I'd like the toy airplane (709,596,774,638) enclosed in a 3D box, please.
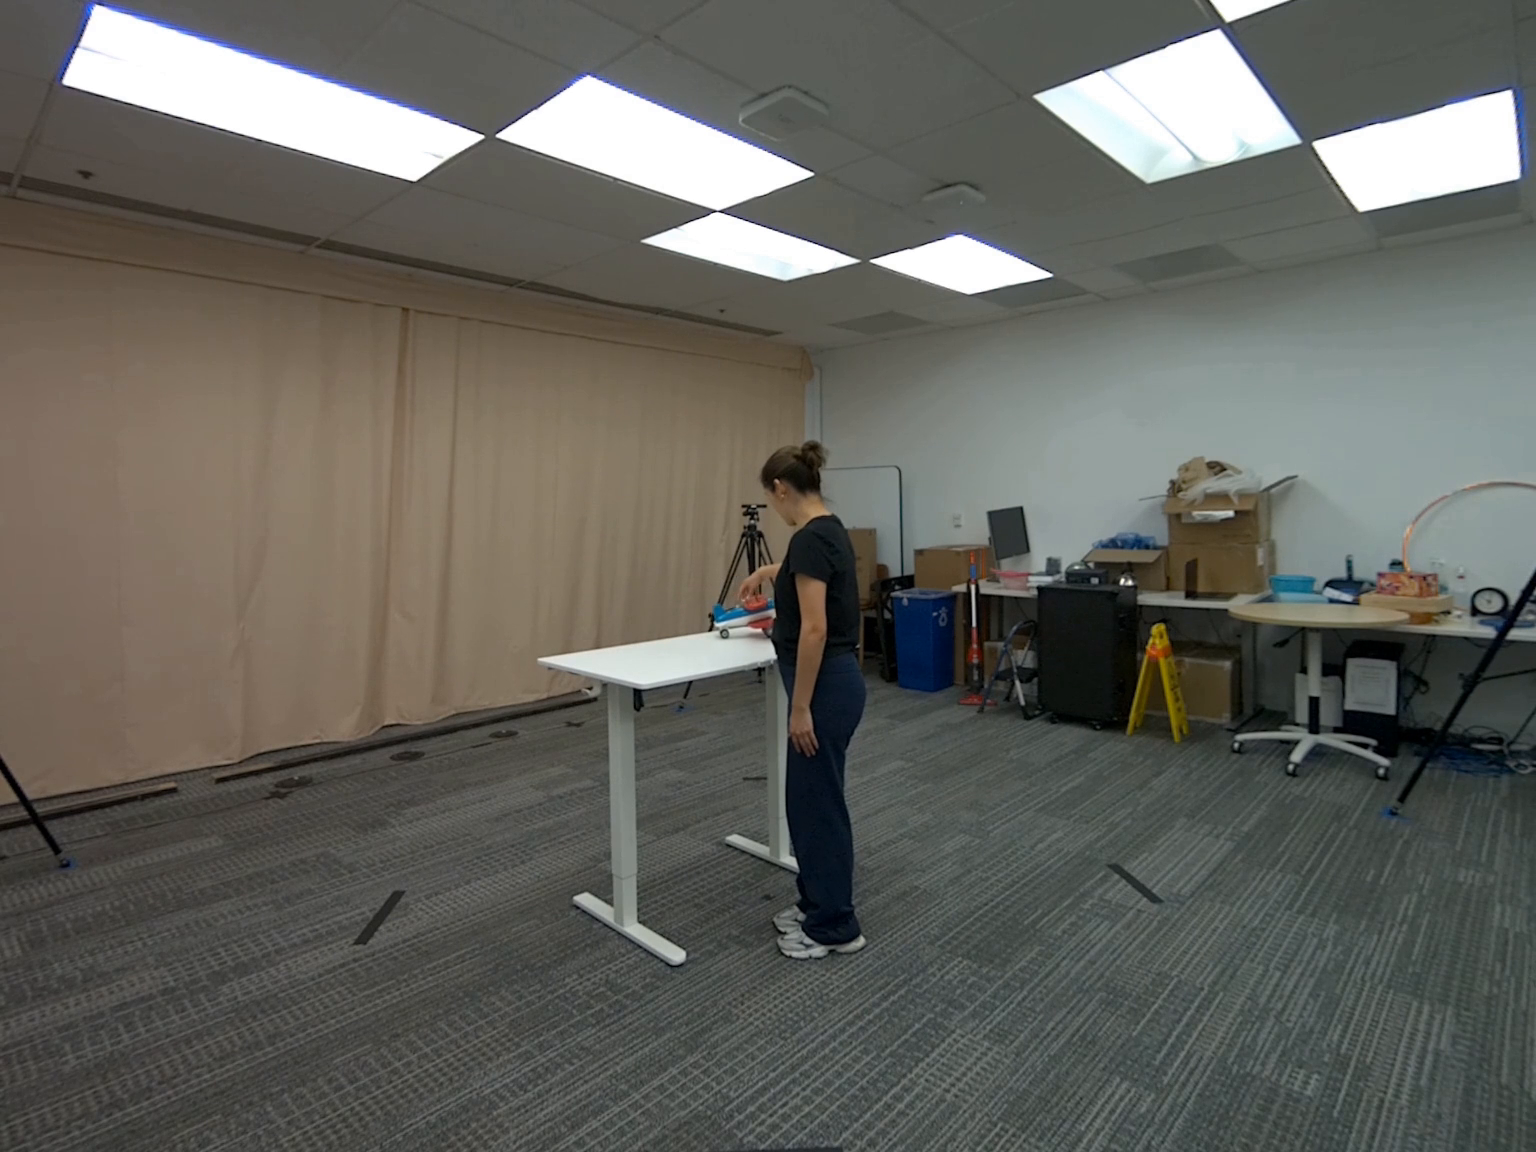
[{"bbox_3d":[-0.059,0.159,3.236,0.252,0.156,0.258,-2,5,-30],"label":"toy airplane"}]
